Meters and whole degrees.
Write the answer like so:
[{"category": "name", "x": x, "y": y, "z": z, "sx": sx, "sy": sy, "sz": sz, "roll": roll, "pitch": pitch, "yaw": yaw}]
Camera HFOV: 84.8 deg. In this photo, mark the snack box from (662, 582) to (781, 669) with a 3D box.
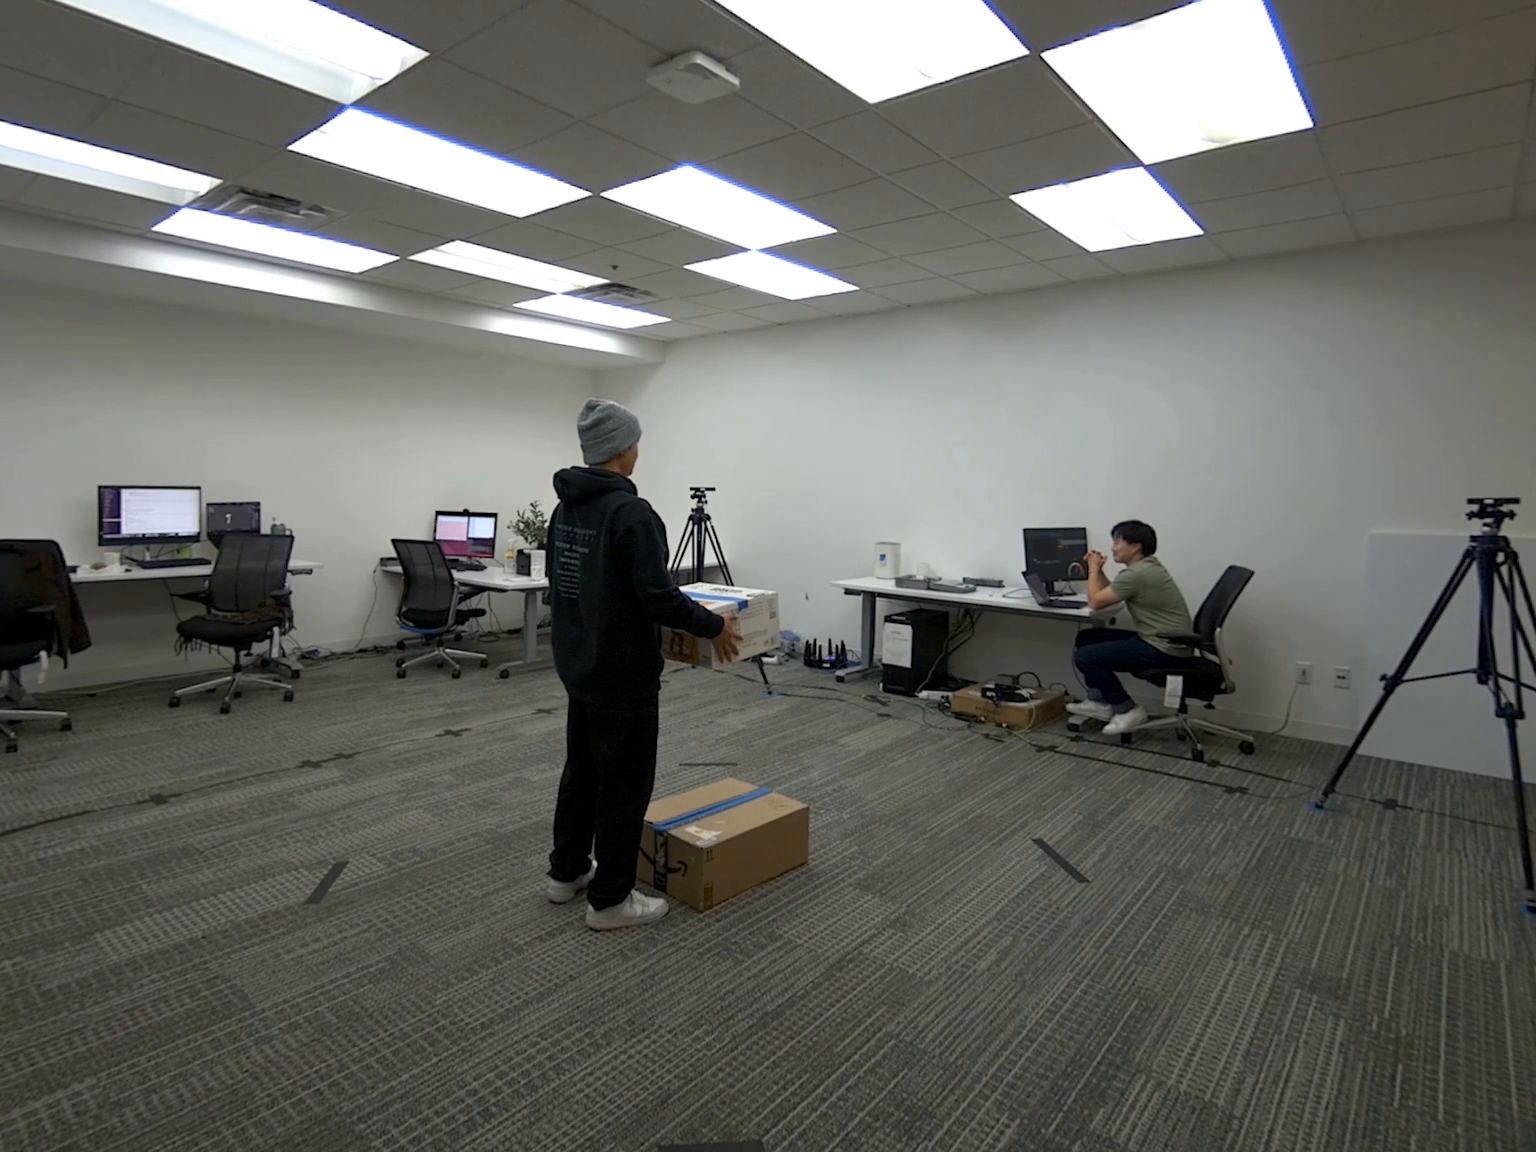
[{"category": "snack box", "x": -0.232, "y": 0.165, "z": 3.038, "sx": 0.419, "sy": 0.204, "sz": 0.332, "roll": 5, "pitch": 13, "yaw": 44}]
